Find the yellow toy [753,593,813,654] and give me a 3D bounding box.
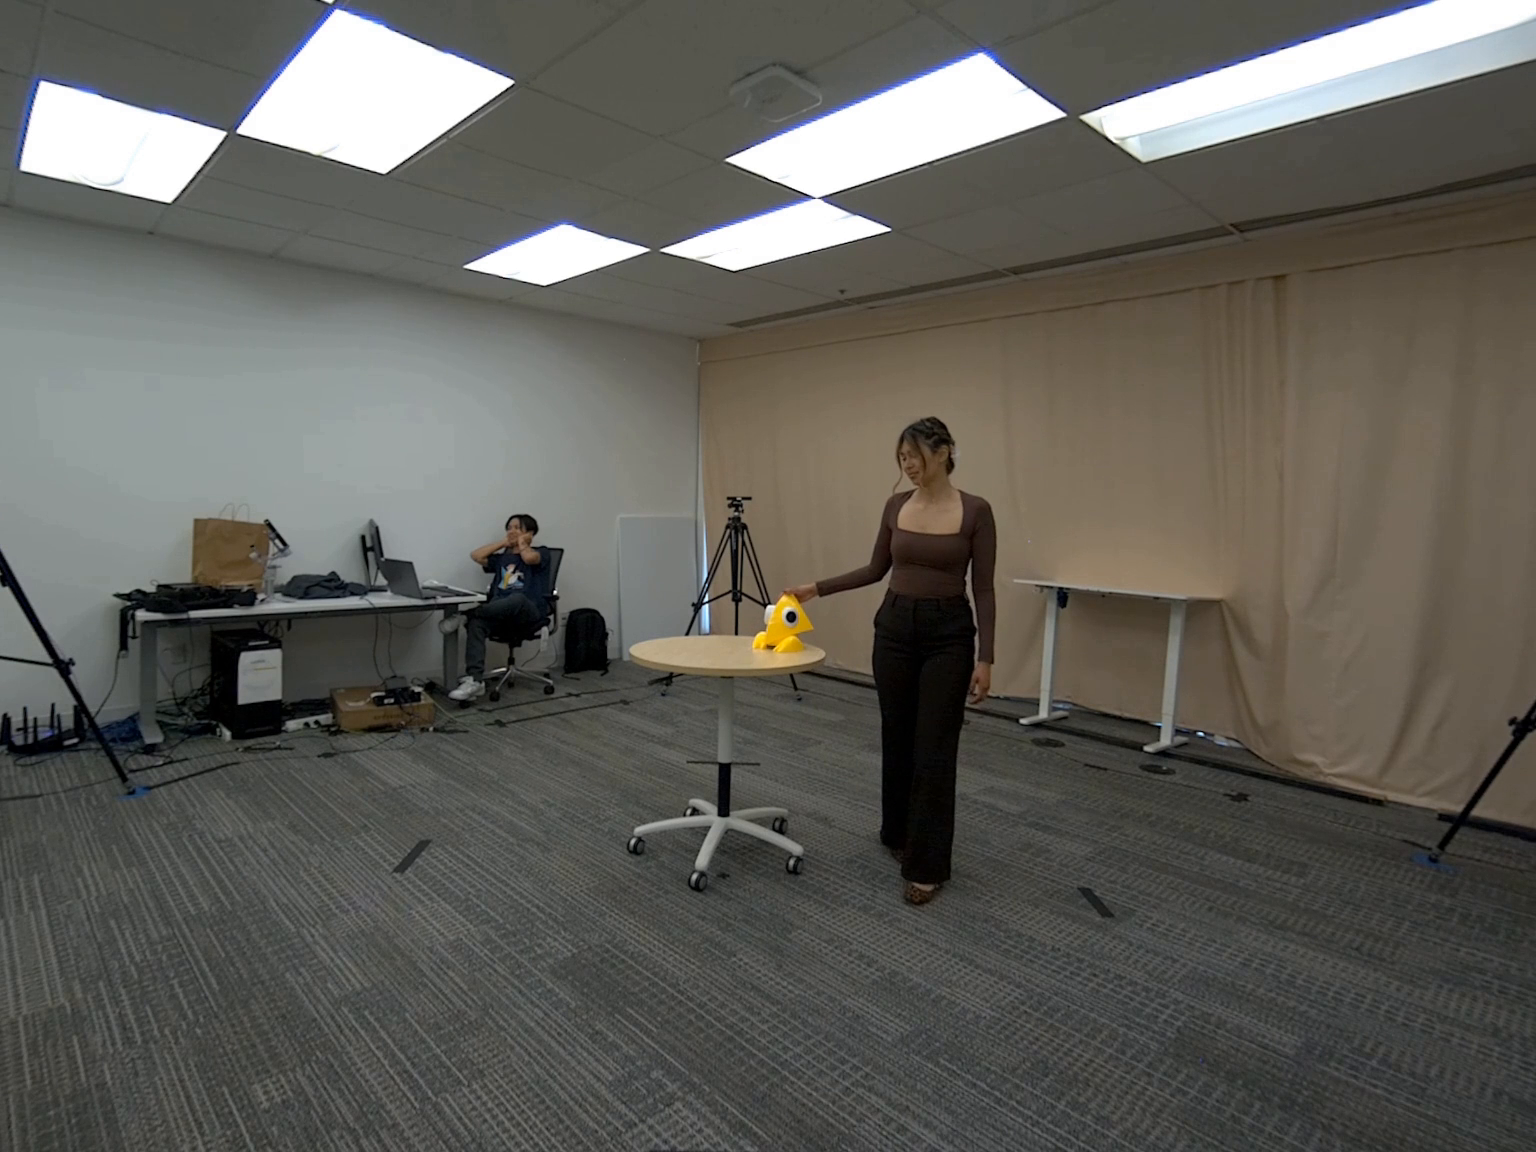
[{"bbox_3d":[0.043,0.176,3.380,0.210,0.230,0.189,4,5,41],"label":"yellow toy"}]
